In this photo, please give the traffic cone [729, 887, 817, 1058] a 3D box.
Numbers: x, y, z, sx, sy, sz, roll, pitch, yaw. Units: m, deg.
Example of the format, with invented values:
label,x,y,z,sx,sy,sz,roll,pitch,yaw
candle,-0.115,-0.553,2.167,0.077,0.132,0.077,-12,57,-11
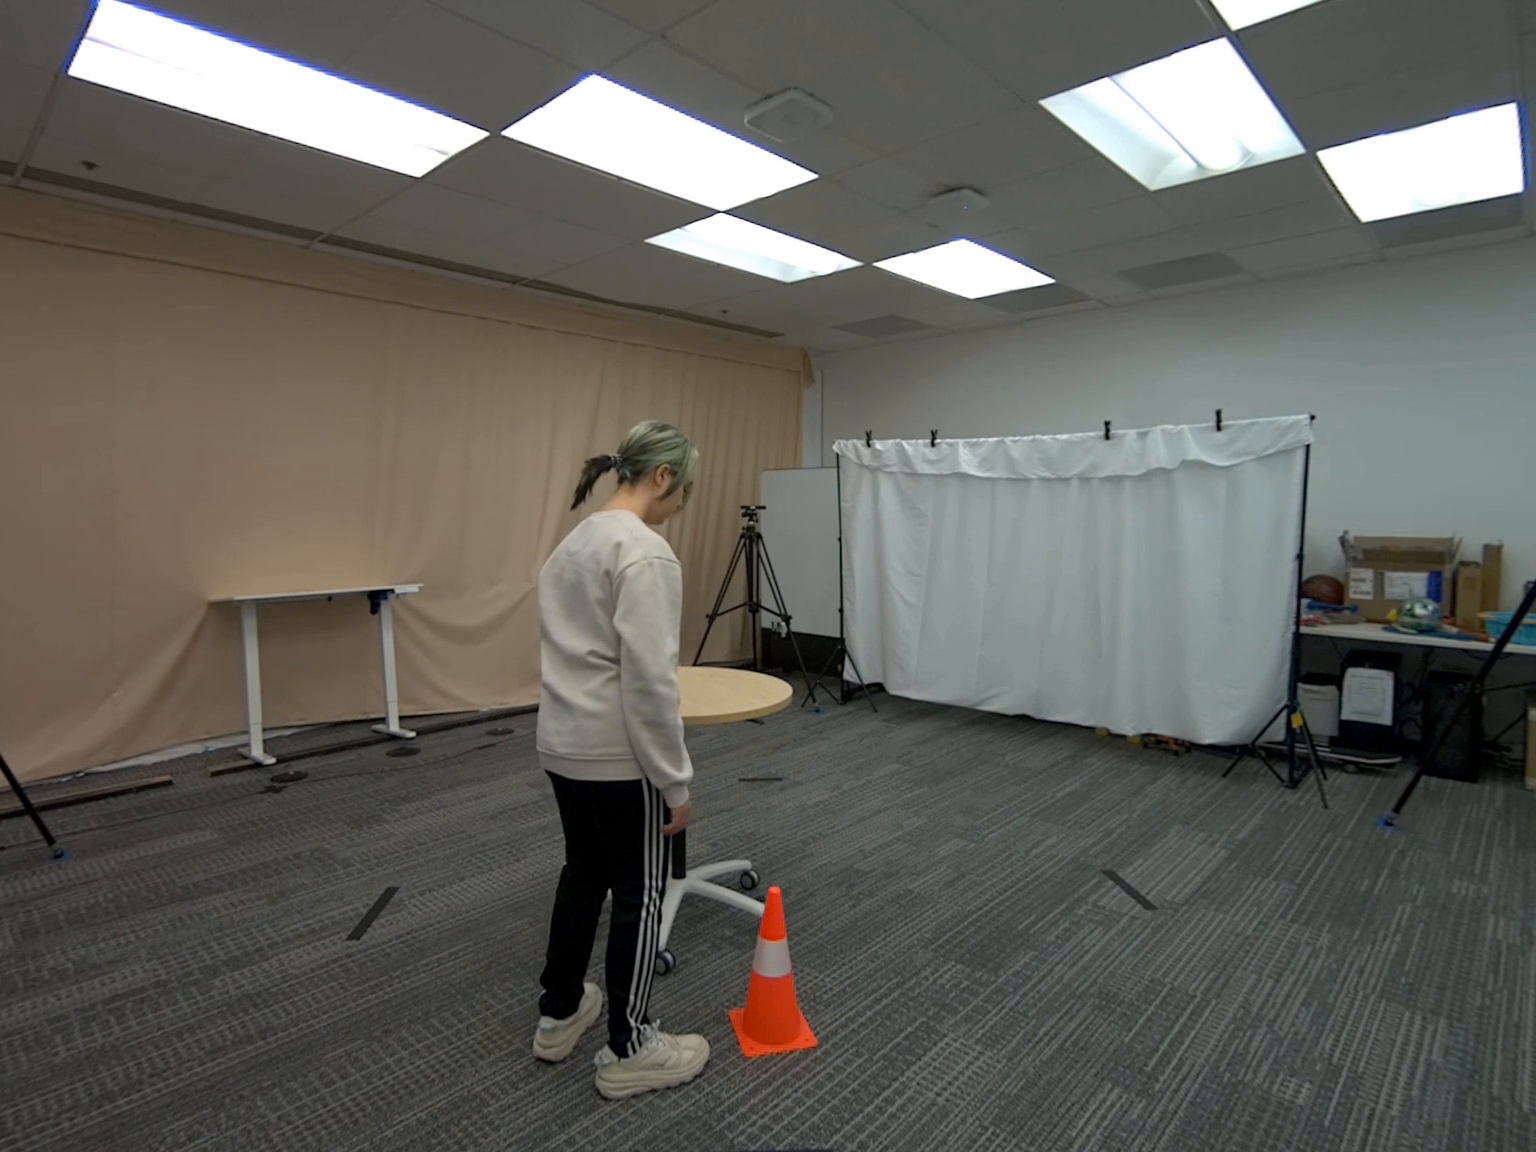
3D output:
label,x,y,z,sx,sy,sz,roll,pitch,yaw
traffic cone,0.016,1.026,2.222,0.200,0.382,0.208,-2,5,-15
